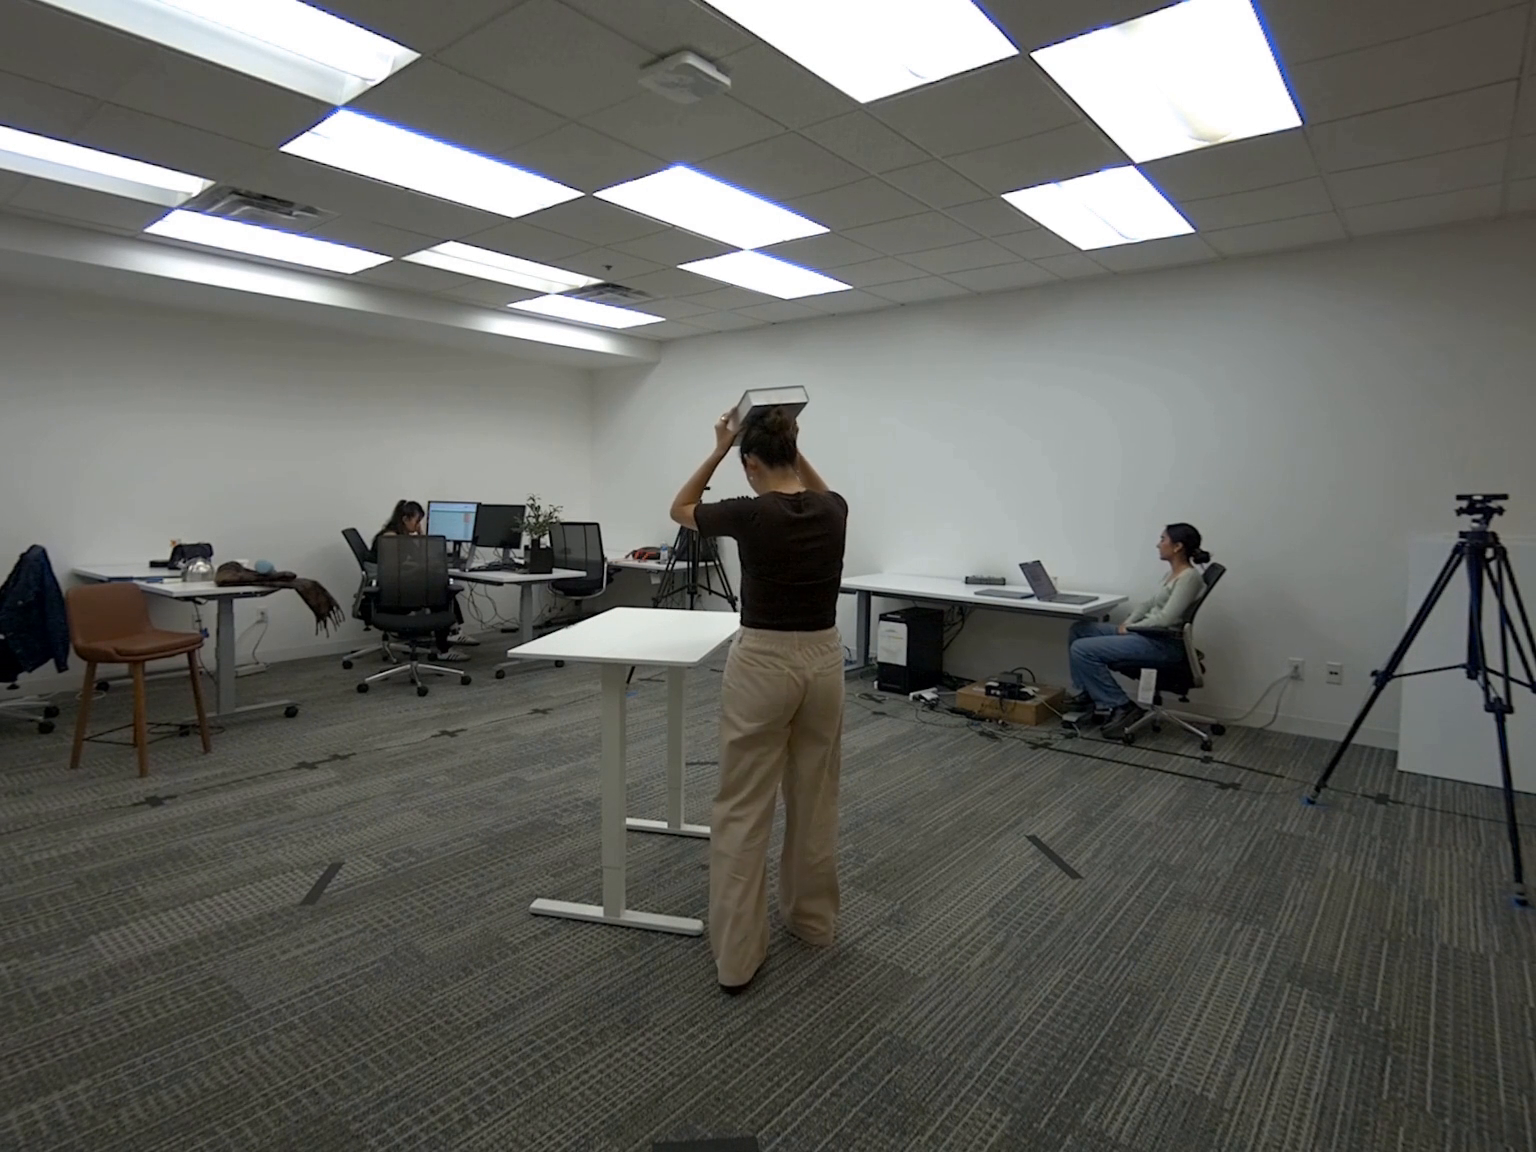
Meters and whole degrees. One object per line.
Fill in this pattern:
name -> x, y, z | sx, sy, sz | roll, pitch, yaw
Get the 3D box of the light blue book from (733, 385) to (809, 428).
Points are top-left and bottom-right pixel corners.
light blue book -> -0.018, -0.485, 2.588 | 0.188, 0.060, 0.260 | -9, -17, -21
